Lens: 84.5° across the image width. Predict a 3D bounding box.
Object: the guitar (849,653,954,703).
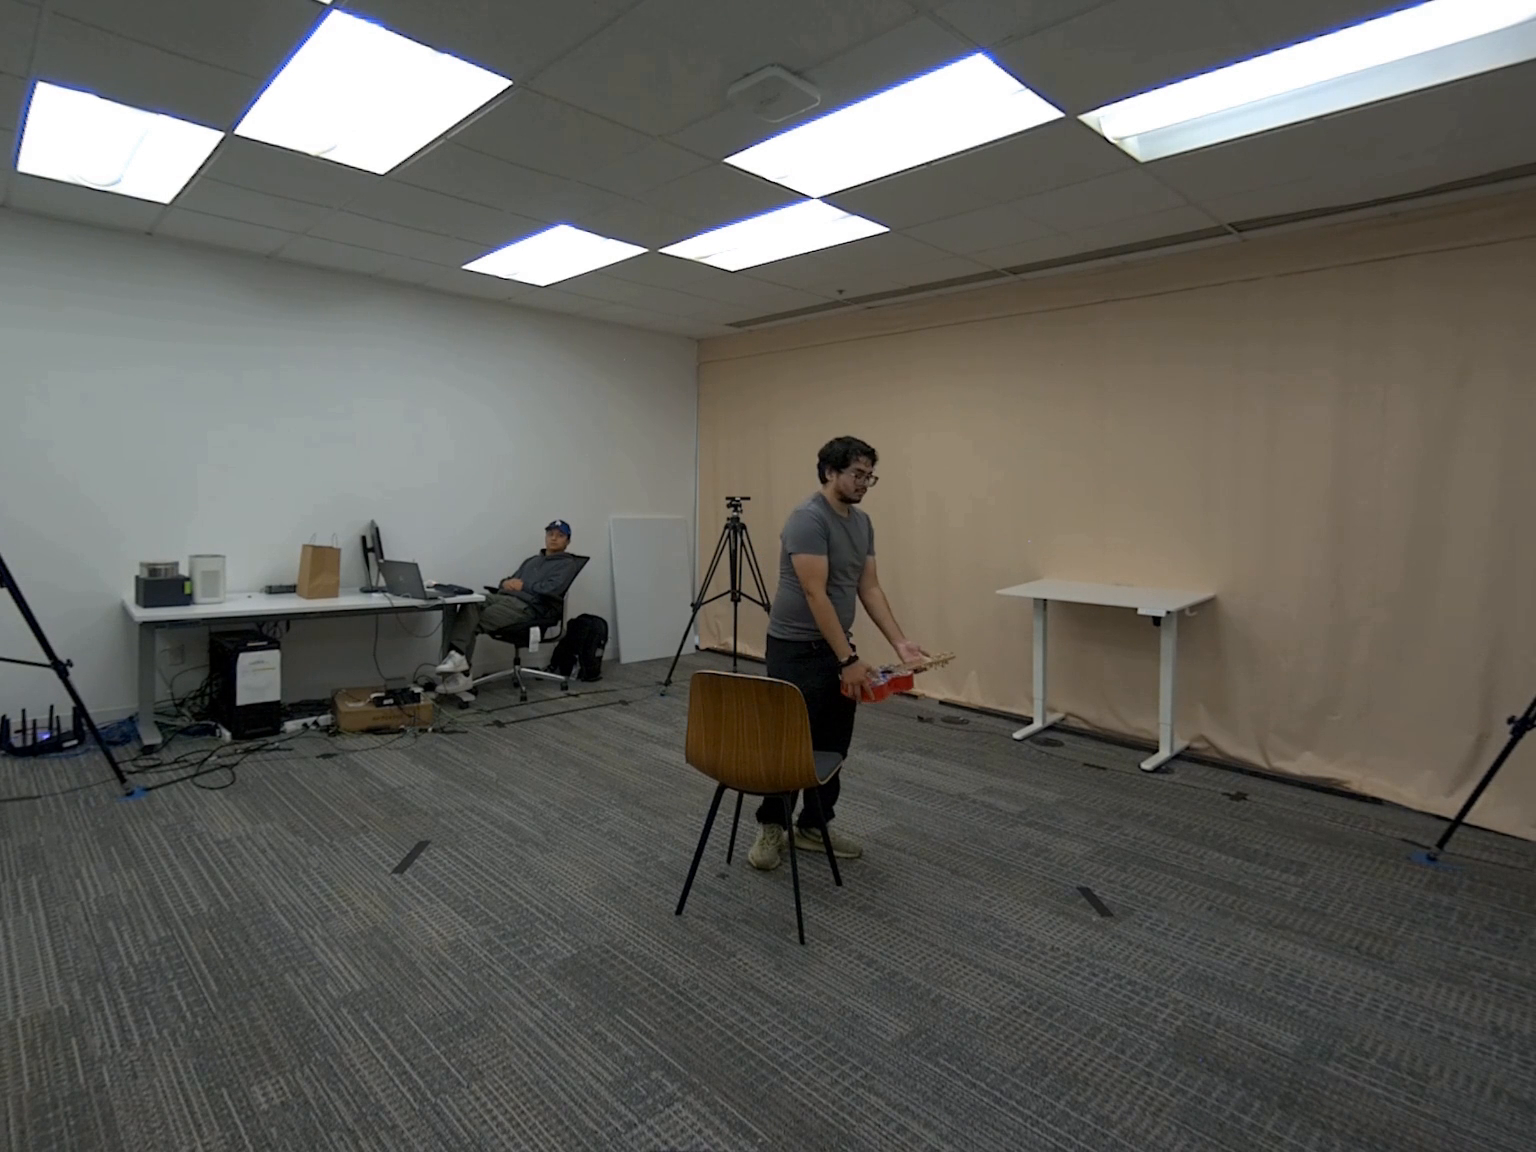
[{"bbox_3d":[0.498,0.373,3.121,0.491,0.070,0.197,-9,14,-21],"label":"guitar"}]
